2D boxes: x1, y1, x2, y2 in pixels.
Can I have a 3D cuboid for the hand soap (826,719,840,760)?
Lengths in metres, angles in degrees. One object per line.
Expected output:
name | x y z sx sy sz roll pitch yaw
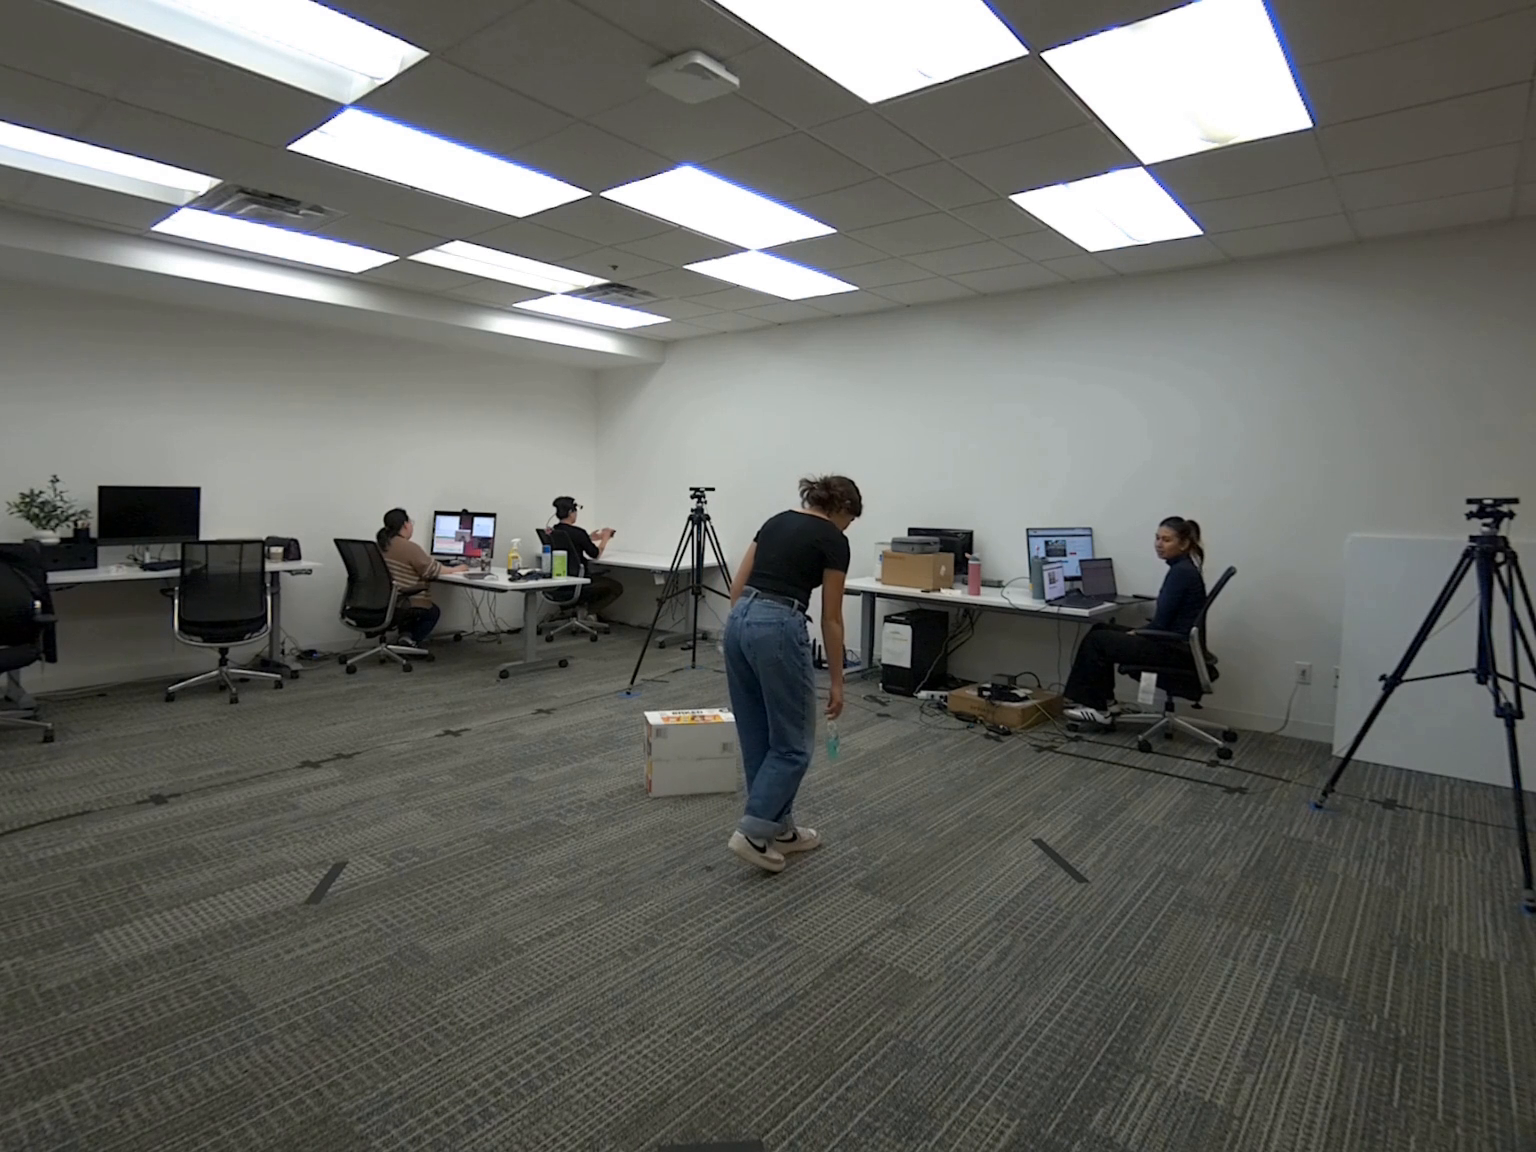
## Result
hand soap | 0.233 0.600 3.186 0.044 0.167 0.083 -6 5 20
